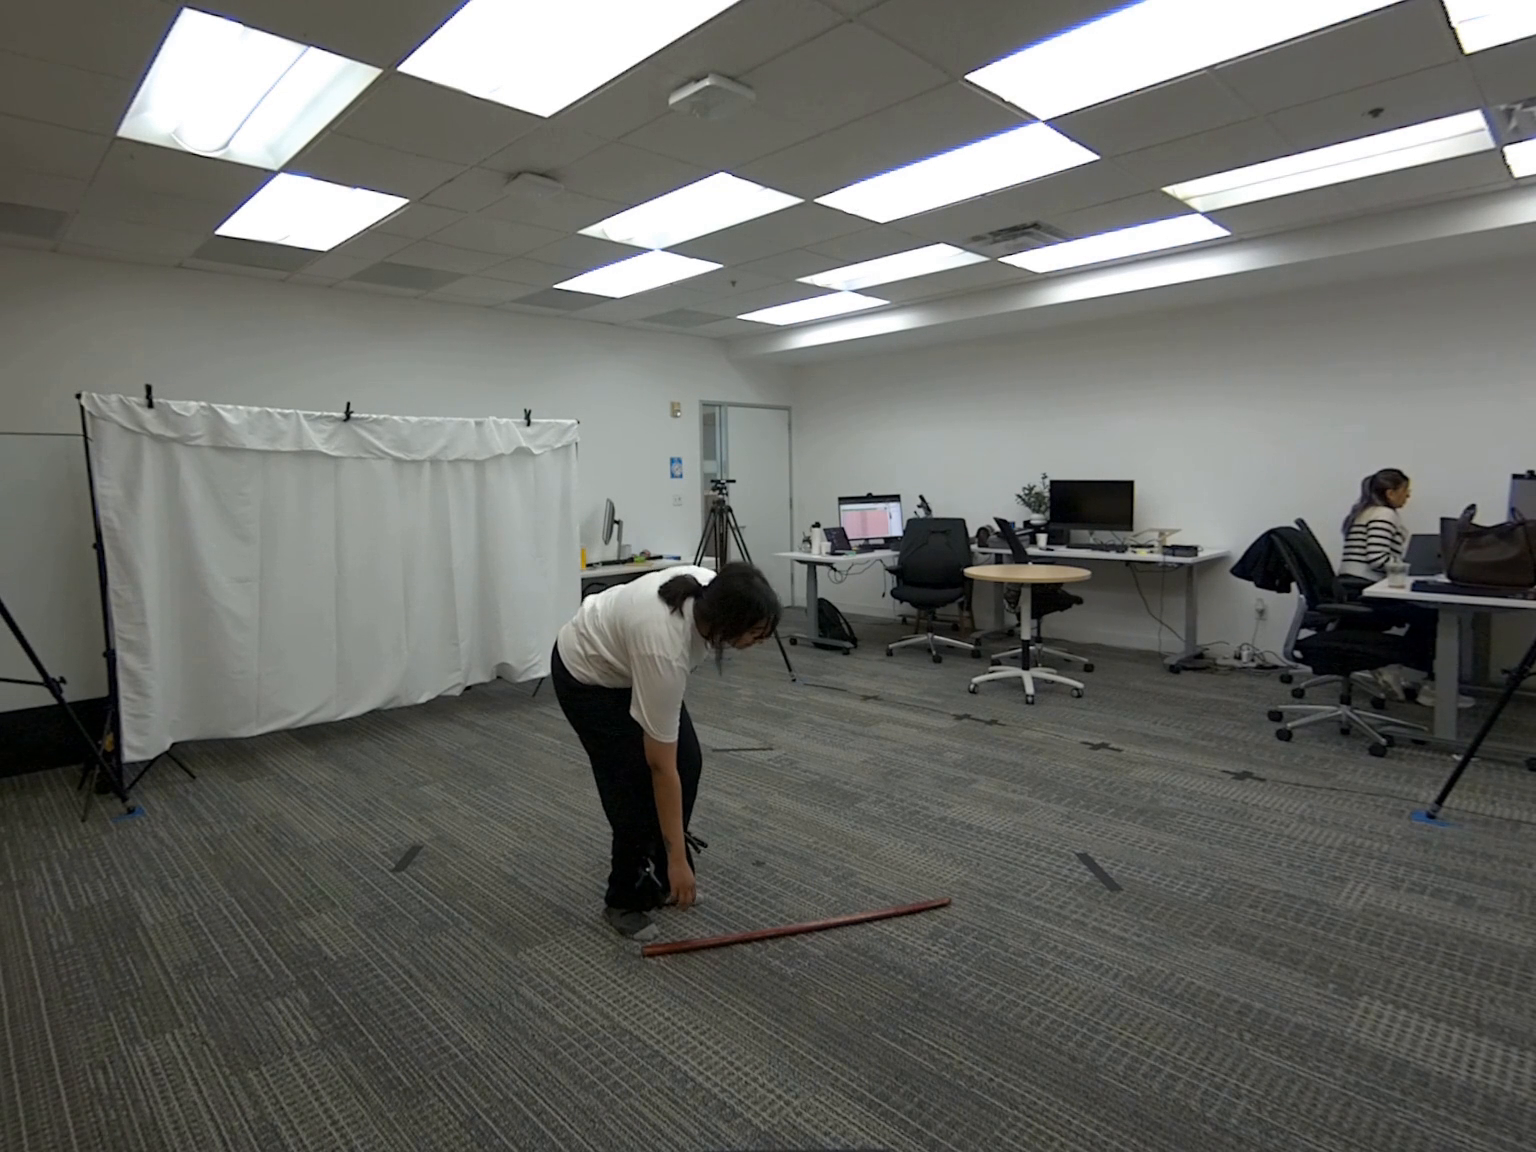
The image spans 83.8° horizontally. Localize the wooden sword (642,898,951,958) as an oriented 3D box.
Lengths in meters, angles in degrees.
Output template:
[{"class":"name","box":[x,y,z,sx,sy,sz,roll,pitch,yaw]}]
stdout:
[{"class":"wooden sword","box":[0.123,1.071,2.650,1.010,0.053,0.023,-3,-37,-15]}]
